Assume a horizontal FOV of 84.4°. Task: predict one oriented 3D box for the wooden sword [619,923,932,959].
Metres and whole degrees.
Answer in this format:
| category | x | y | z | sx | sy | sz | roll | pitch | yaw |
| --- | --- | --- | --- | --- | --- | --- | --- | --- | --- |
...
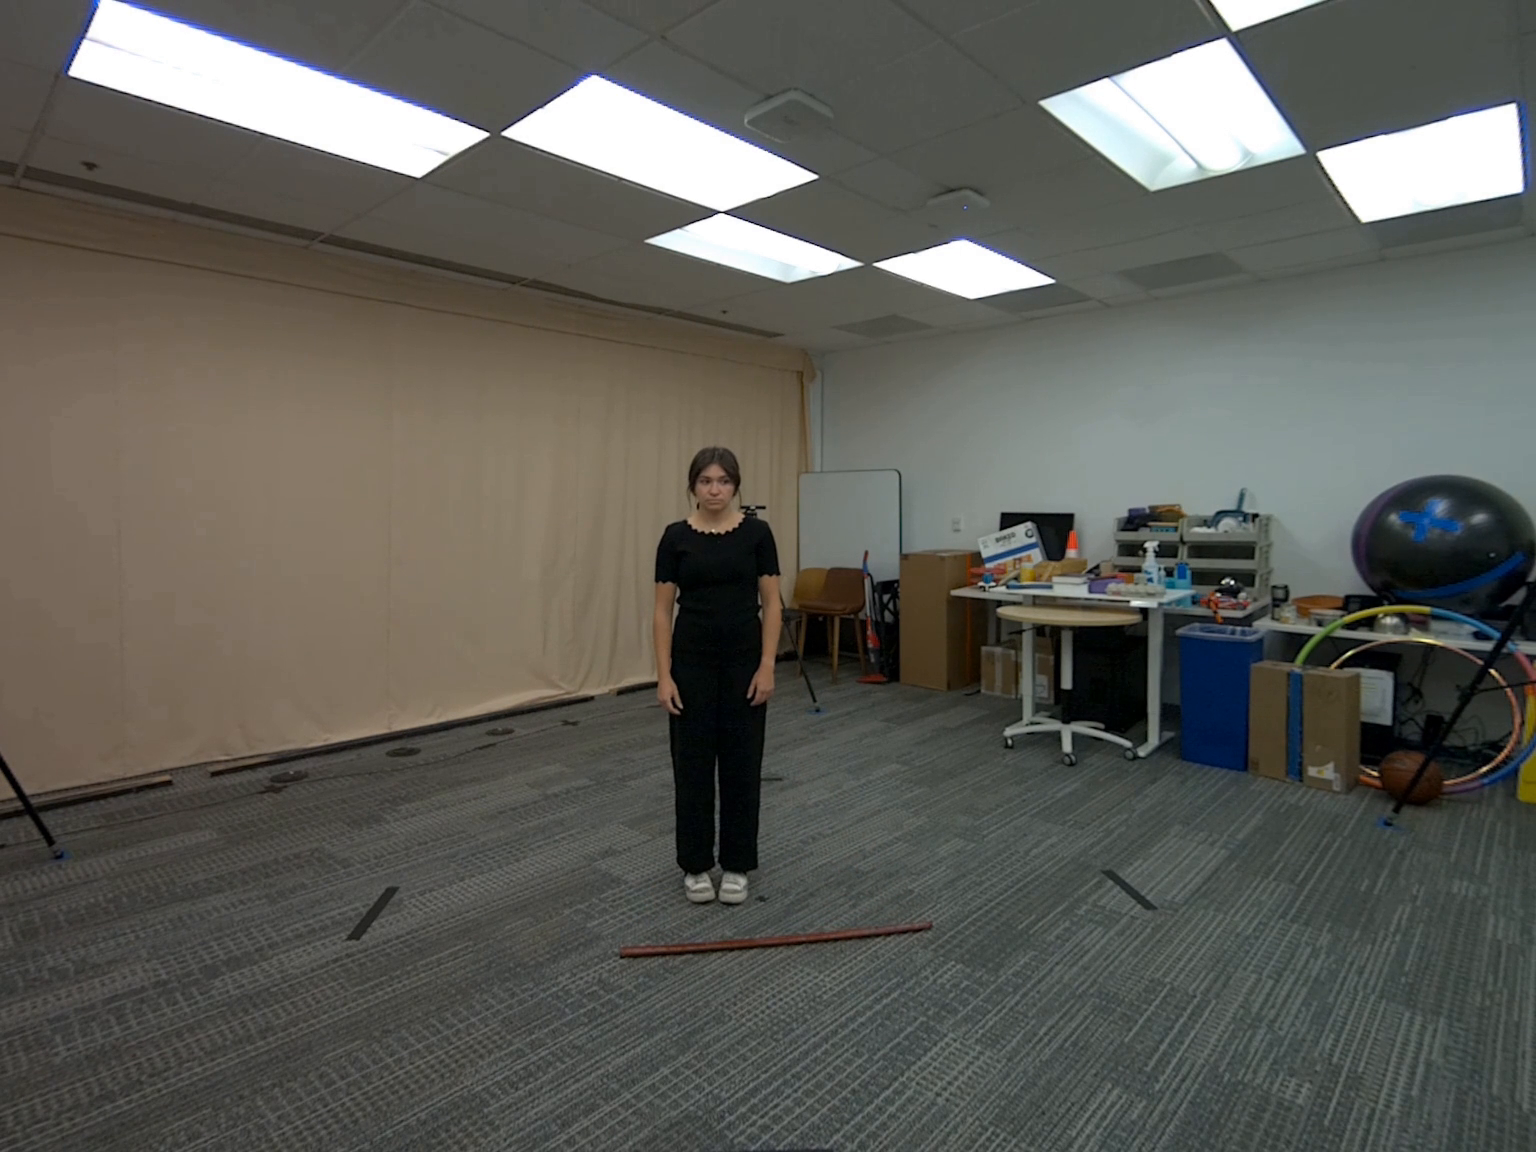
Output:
| category | x | y | z | sx | sy | sz | roll | pitch | yaw |
| --- | --- | --- | --- | --- | --- | --- | --- | --- | --- |
| wooden sword | 0.051 | 1.151 | 2.684 | 1.016 | 0.024 | 0.050 | -1 | -41 | -8 |
